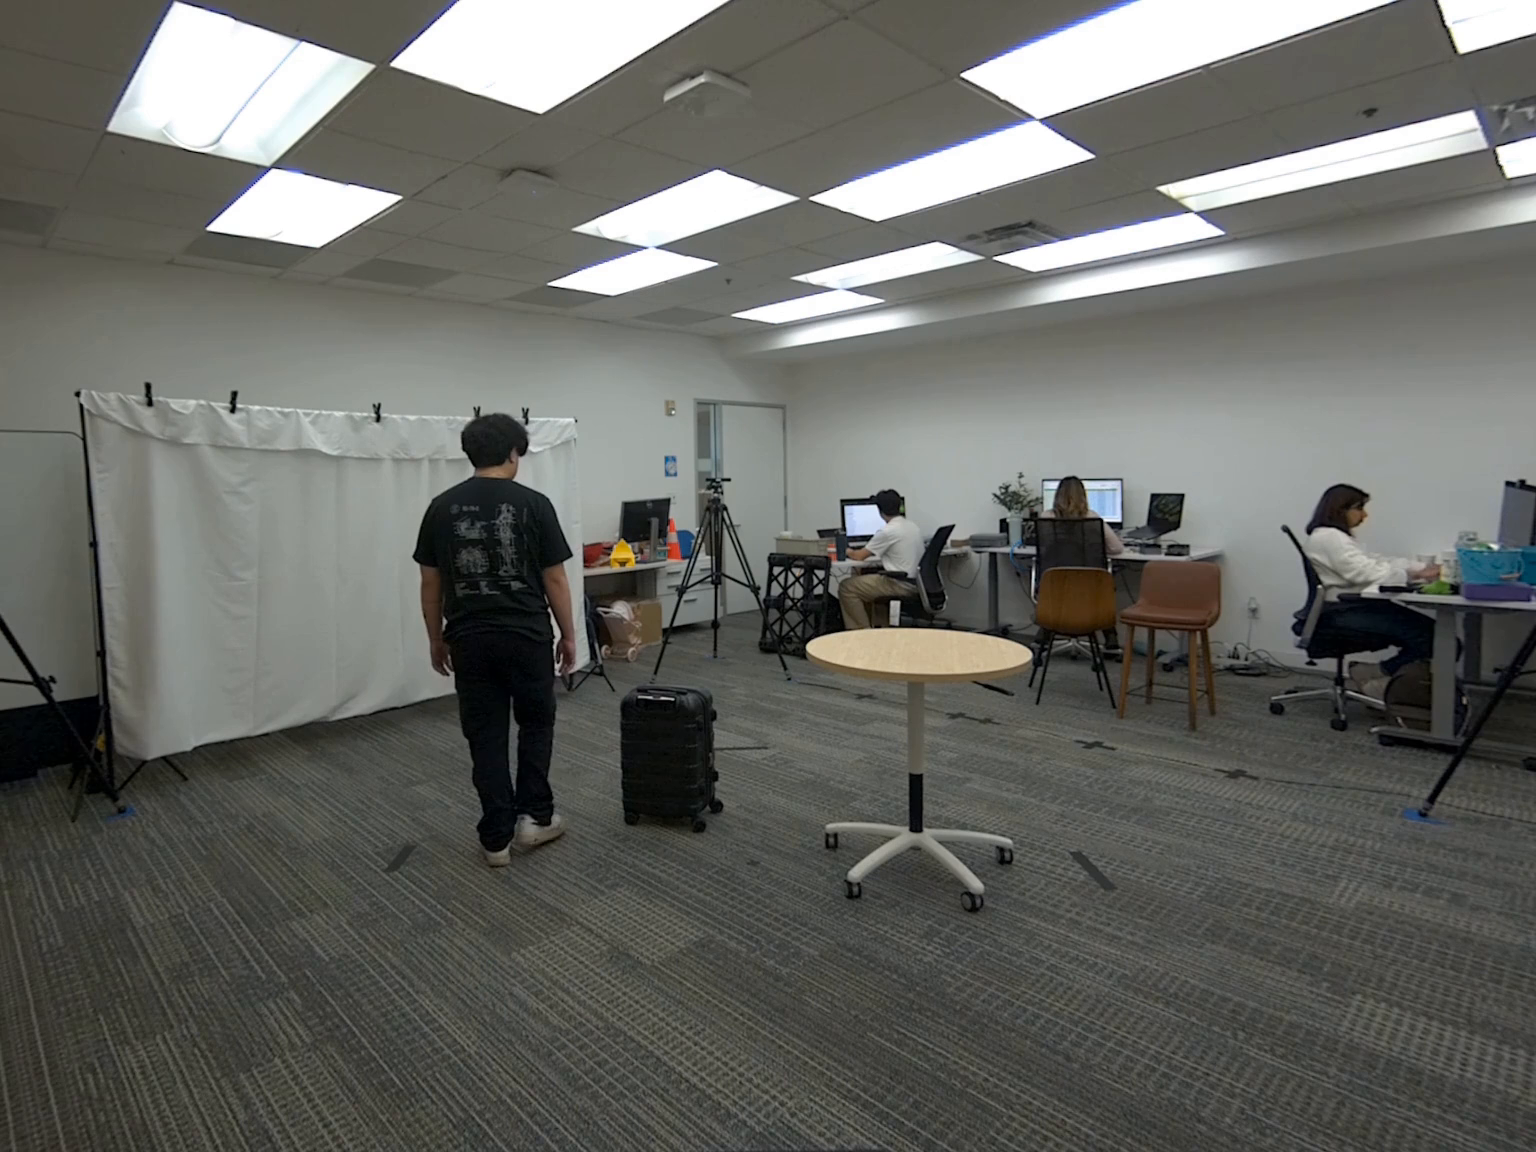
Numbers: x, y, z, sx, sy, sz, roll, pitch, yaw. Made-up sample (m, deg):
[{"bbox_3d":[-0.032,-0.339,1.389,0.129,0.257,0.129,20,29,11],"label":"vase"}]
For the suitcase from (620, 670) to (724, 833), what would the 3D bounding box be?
[{"bbox_3d":[-0.413,0.727,3.528,0.382,0.548,0.245,-1,3,18],"label":"suitcase"}]
